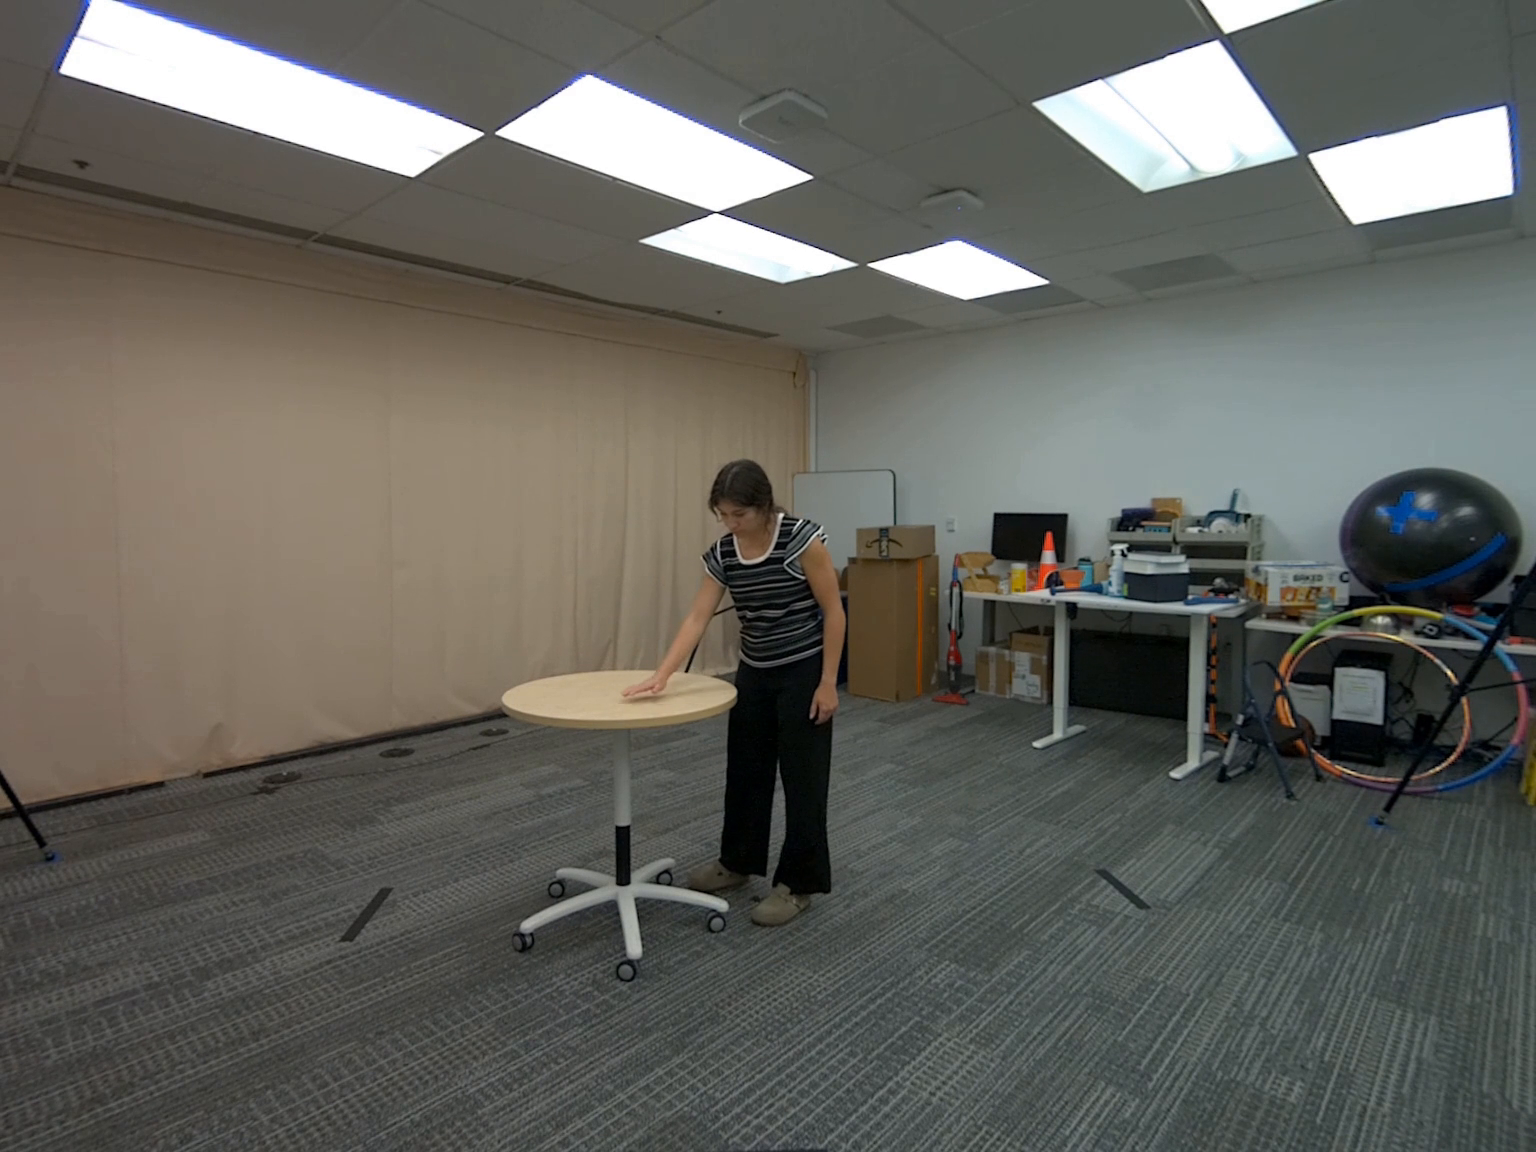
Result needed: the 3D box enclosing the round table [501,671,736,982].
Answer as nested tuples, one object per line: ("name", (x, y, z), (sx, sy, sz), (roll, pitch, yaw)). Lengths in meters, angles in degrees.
("round table", (-0.483, 0.778, 2.785), (0.763, 0.793, 0.766), (0, 3, -2))
